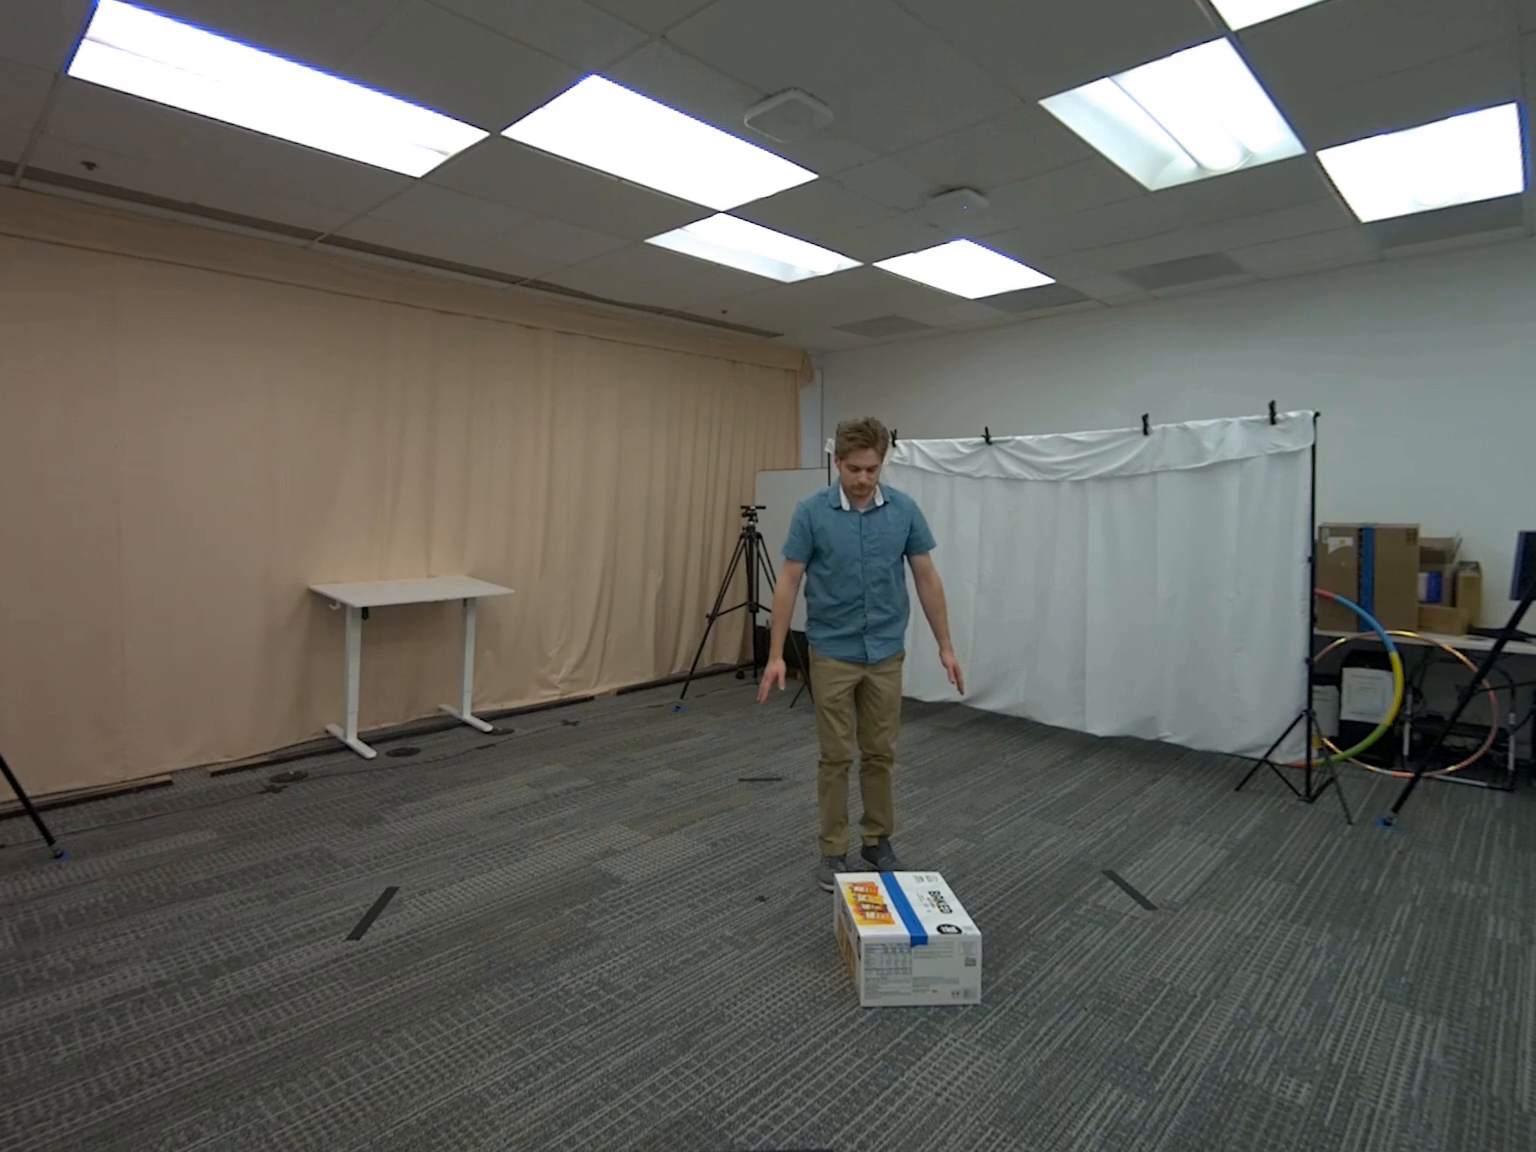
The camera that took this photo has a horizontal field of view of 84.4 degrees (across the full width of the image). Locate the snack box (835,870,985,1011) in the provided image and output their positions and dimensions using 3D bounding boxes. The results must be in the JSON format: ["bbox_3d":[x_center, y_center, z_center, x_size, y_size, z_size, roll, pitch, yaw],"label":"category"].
[{"bbox_3d":[0.404,1.068,2.524,0.339,0.205,0.408,-1,5,-4],"label":"snack box"}]
